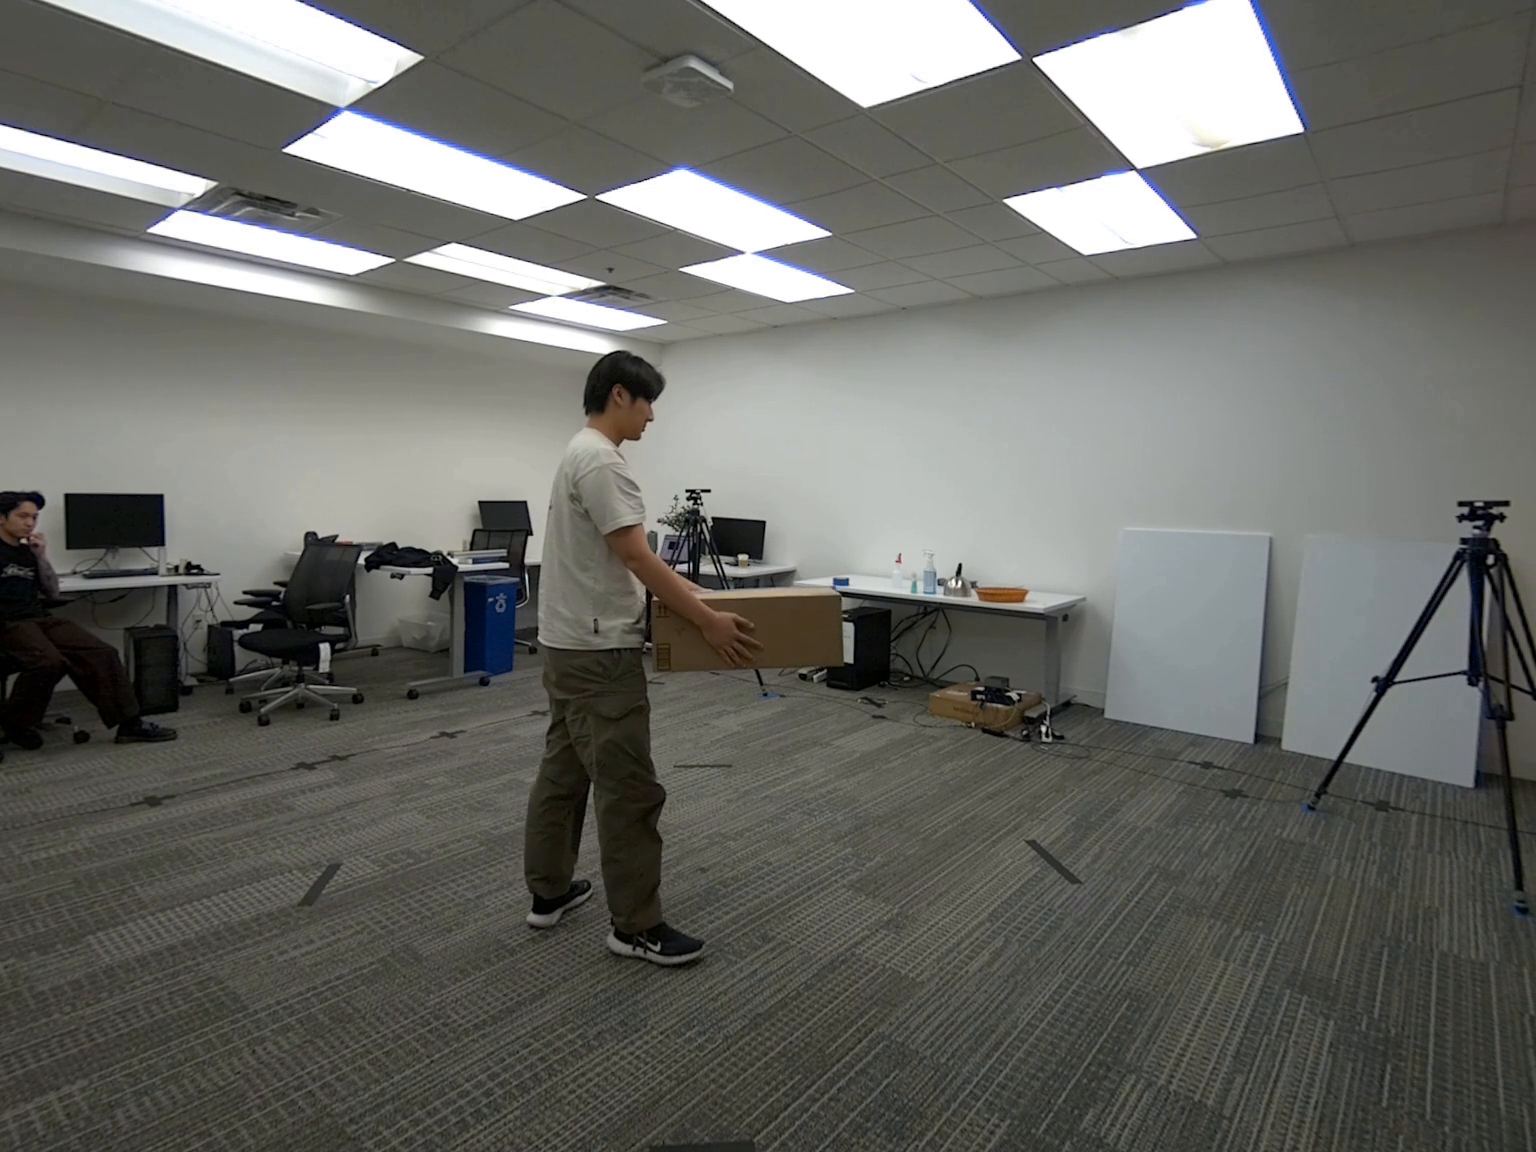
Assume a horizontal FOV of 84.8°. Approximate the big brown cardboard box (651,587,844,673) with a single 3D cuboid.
[{"bbox_3d":[-0.081,0.159,2.706,0.586,0.233,0.420,-3,3,-5],"label":"big brown cardboard box"}]
